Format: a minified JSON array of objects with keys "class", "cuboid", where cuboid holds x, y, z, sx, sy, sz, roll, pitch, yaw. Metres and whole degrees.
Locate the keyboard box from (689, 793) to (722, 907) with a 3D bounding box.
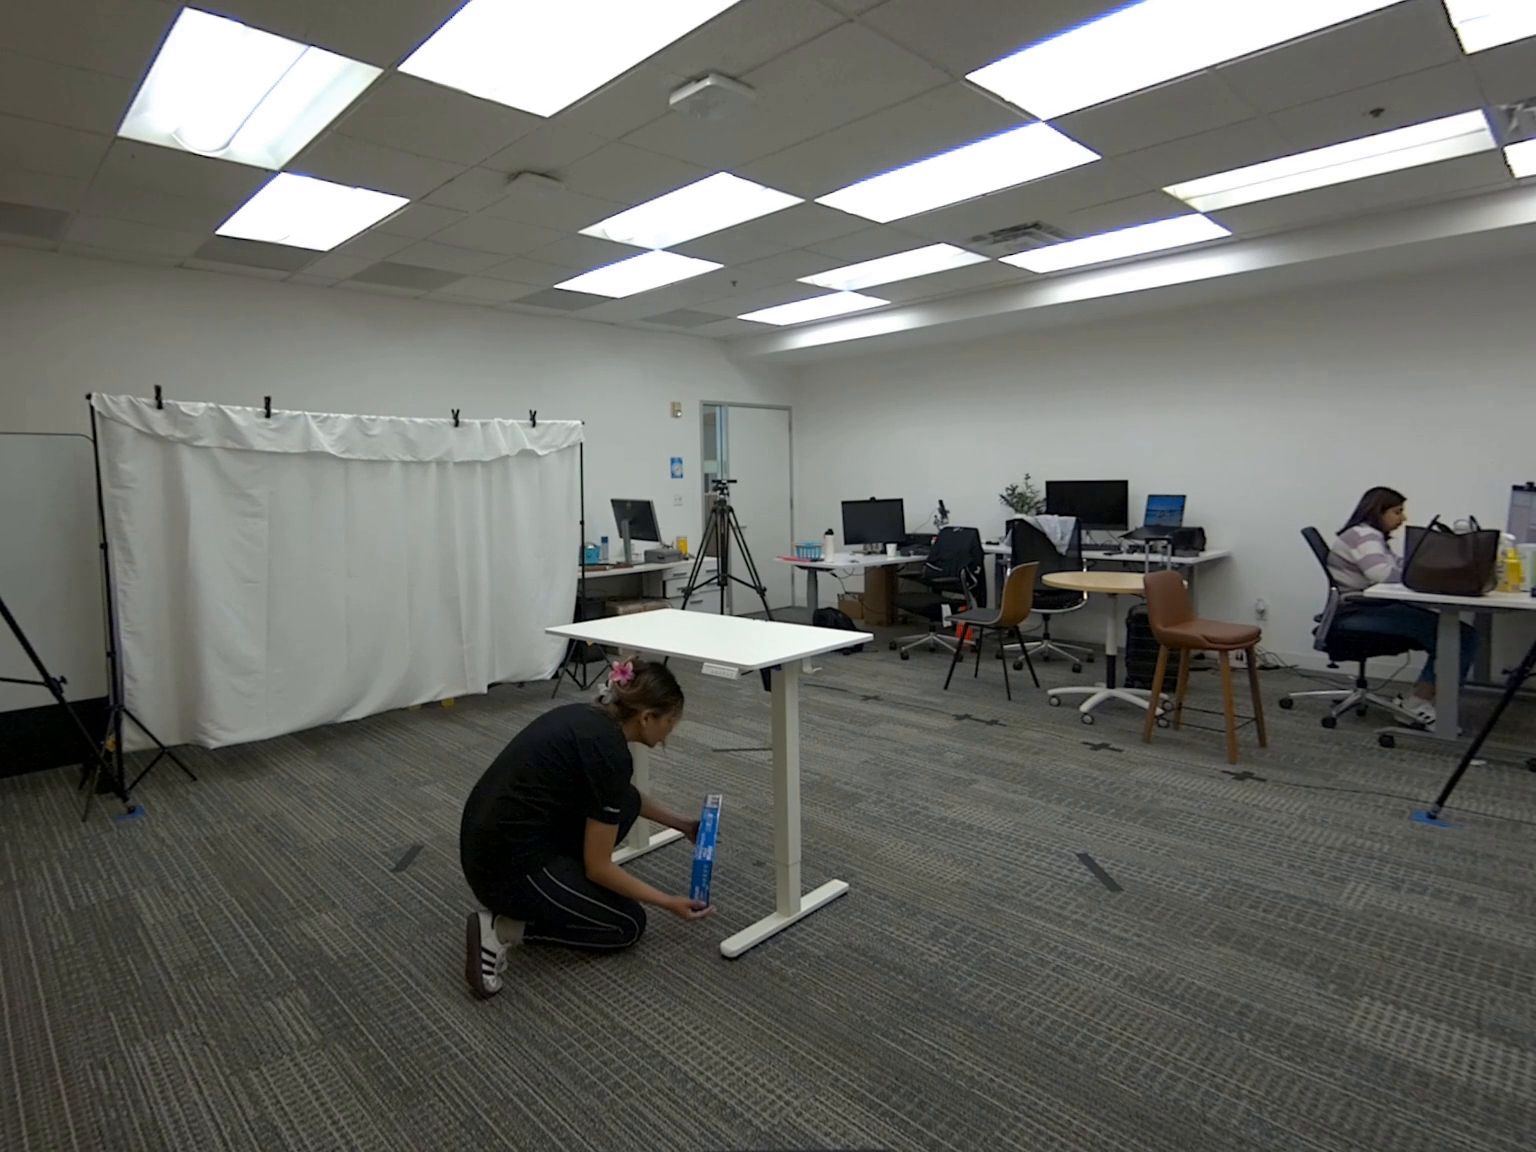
[{"class":"keyboard box","cuboid":[-0.191,0.887,2.769,0.059,0.174,0.440,3,11,-1]}]
